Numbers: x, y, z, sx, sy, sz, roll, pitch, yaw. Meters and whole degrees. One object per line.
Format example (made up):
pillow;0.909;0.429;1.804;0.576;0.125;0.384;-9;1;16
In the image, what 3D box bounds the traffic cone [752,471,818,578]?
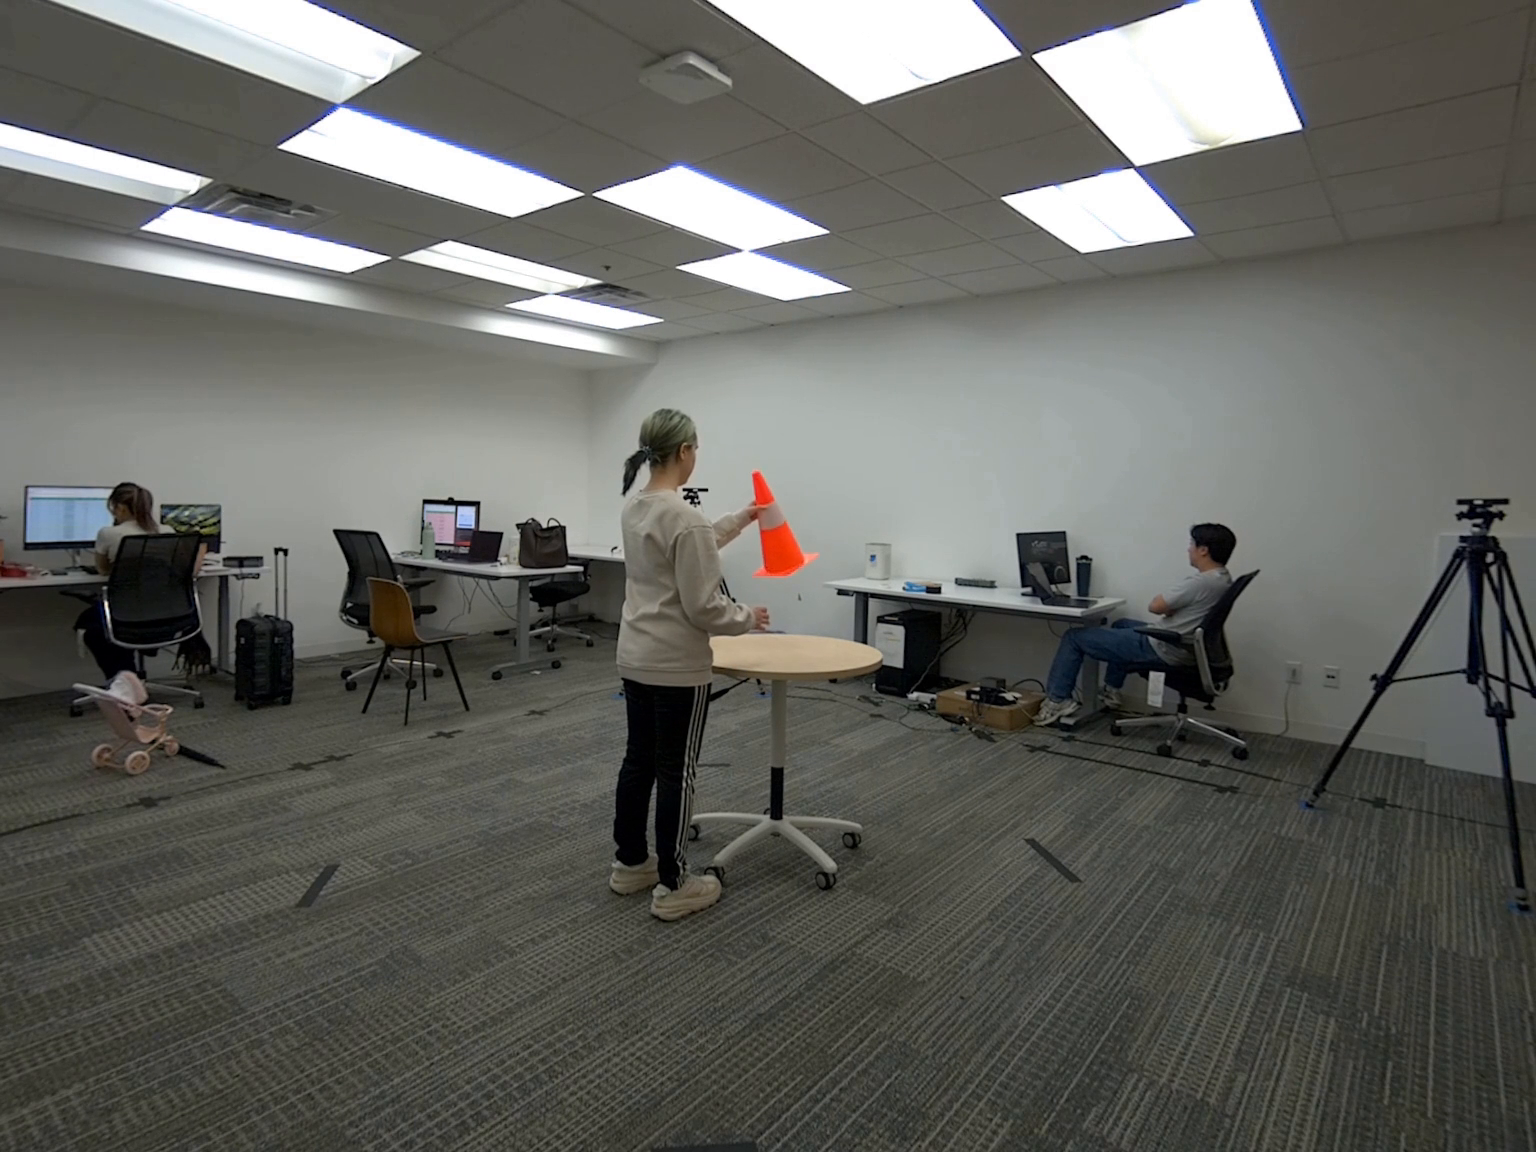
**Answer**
traffic cone;-0.002;-0.212;3.169;0.211;0.376;0.202;-5;21;37
